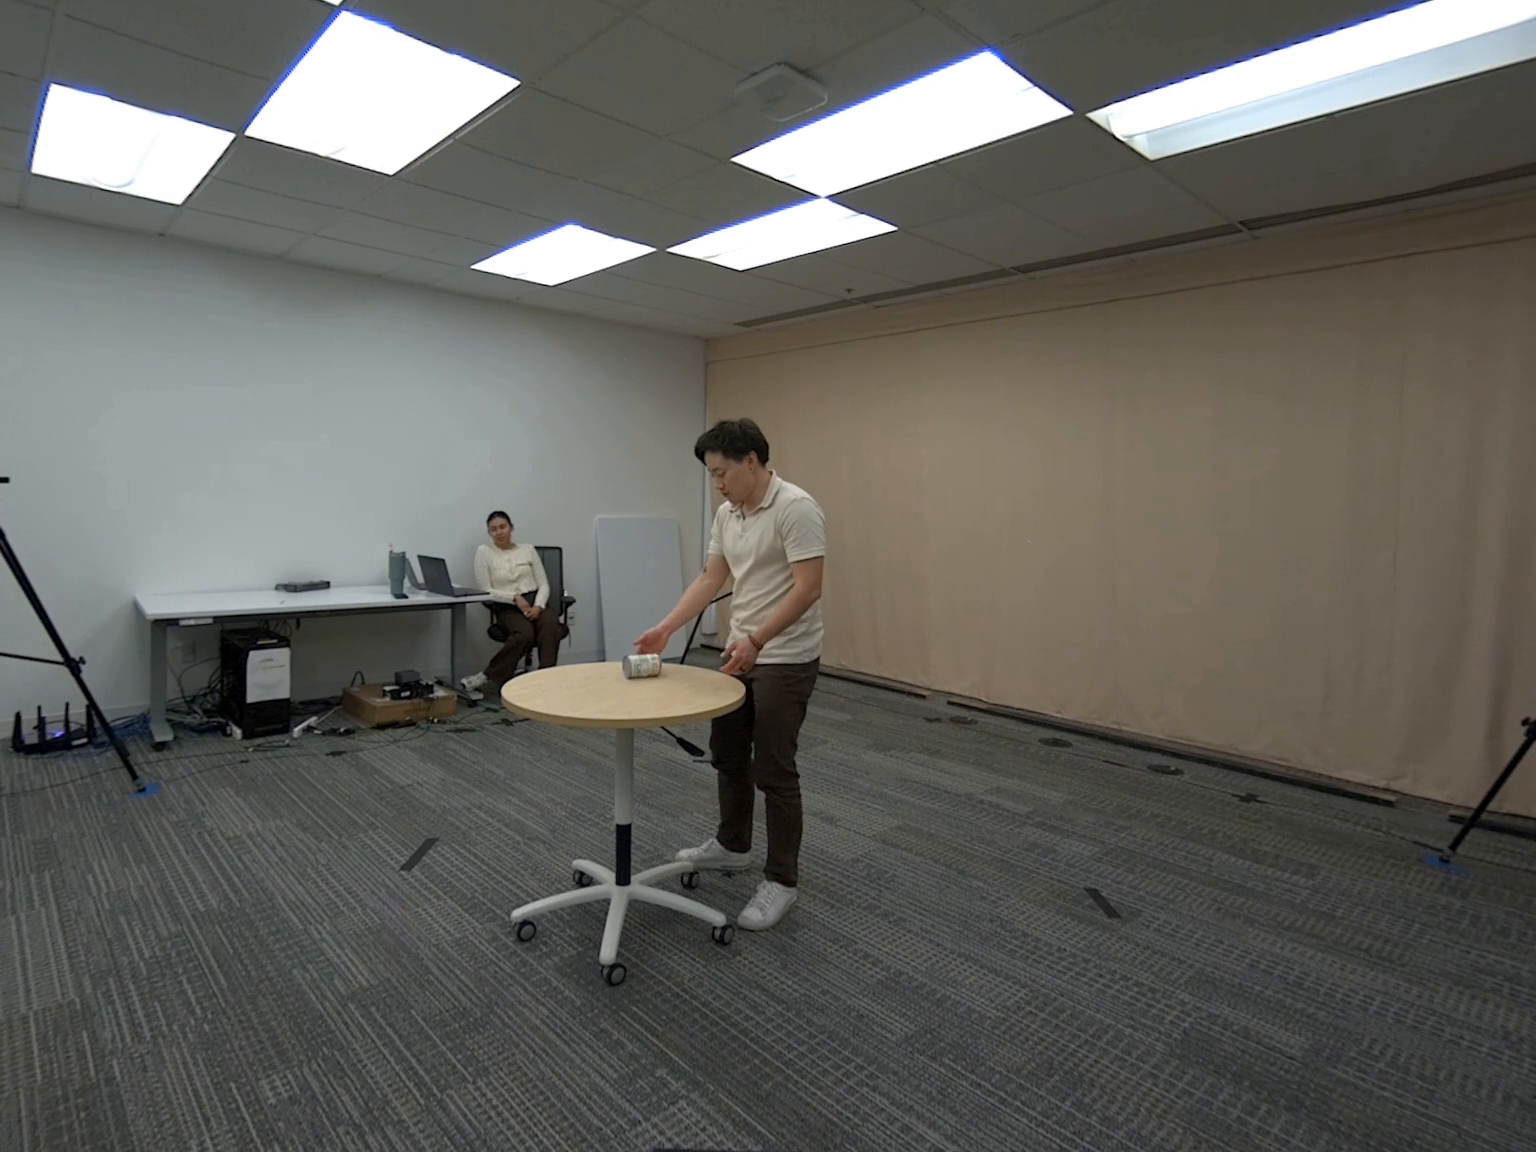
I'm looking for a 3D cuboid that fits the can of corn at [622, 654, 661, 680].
[{"bbox_3d":[-0.423,0.301,2.809,0.109,0.074,0.075,2,4,-19],"label":"can of corn"}]
